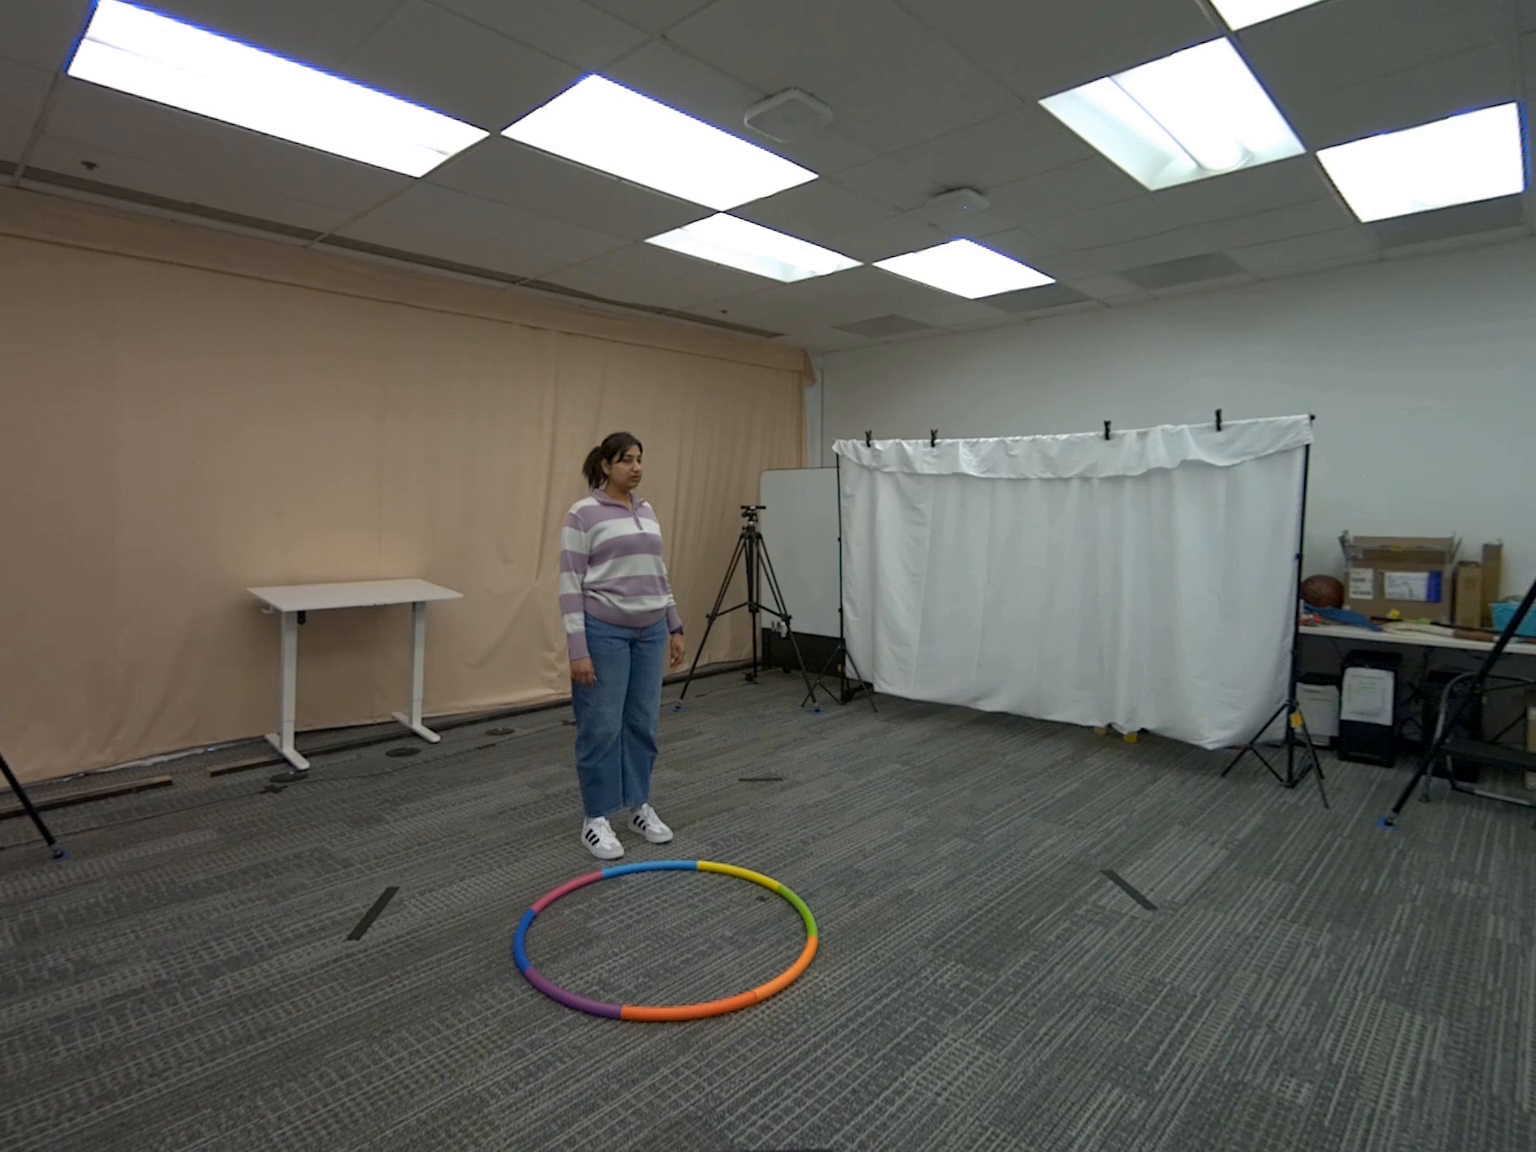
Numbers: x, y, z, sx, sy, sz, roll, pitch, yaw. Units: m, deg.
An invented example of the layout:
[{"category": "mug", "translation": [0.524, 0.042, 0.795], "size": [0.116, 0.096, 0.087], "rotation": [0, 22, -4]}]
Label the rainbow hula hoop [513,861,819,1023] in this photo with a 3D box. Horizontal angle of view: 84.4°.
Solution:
[{"category": "rainbow hula hoop", "translation": [-0.325, 1.140, 2.755], "size": [0.985, 0.051, 0.989], "rotation": [-1, 5, -2]}]
